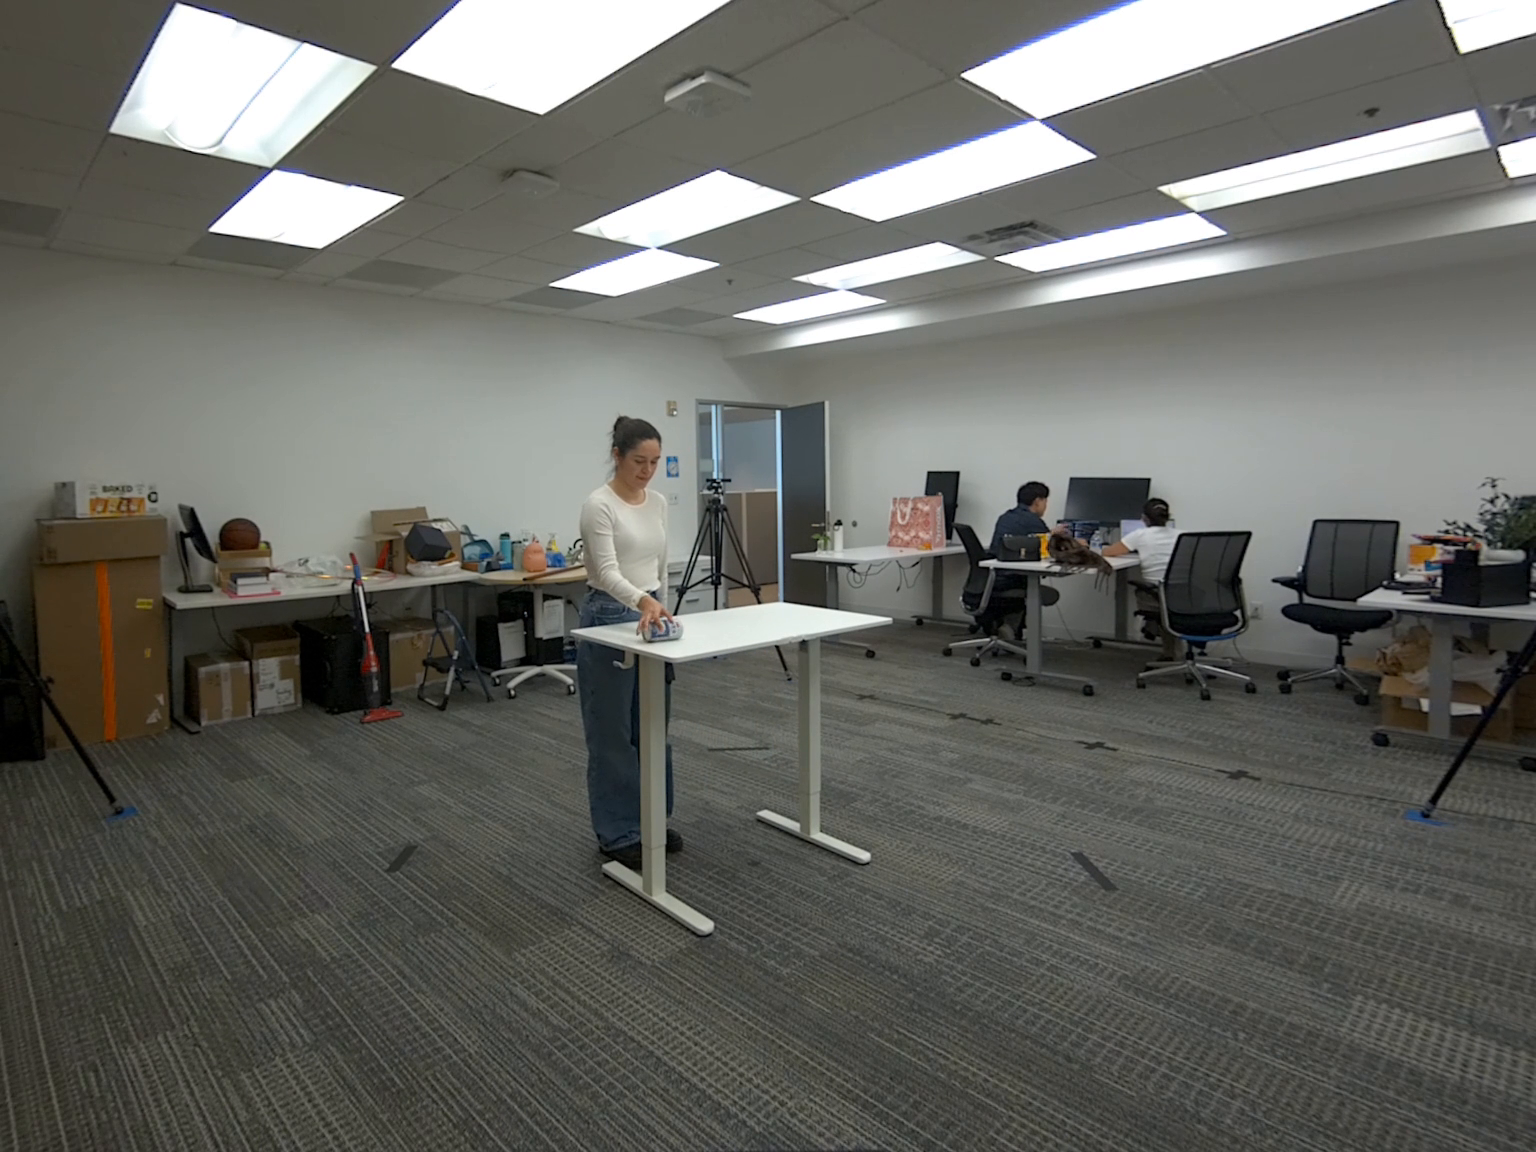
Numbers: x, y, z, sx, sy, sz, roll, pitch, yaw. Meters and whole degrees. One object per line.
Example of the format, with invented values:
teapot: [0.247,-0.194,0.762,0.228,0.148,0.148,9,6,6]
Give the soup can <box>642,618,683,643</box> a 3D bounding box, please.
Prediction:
soup can: [-0.334,0.171,2.738,0.118,0.067,0.069,-4,5,-32]
